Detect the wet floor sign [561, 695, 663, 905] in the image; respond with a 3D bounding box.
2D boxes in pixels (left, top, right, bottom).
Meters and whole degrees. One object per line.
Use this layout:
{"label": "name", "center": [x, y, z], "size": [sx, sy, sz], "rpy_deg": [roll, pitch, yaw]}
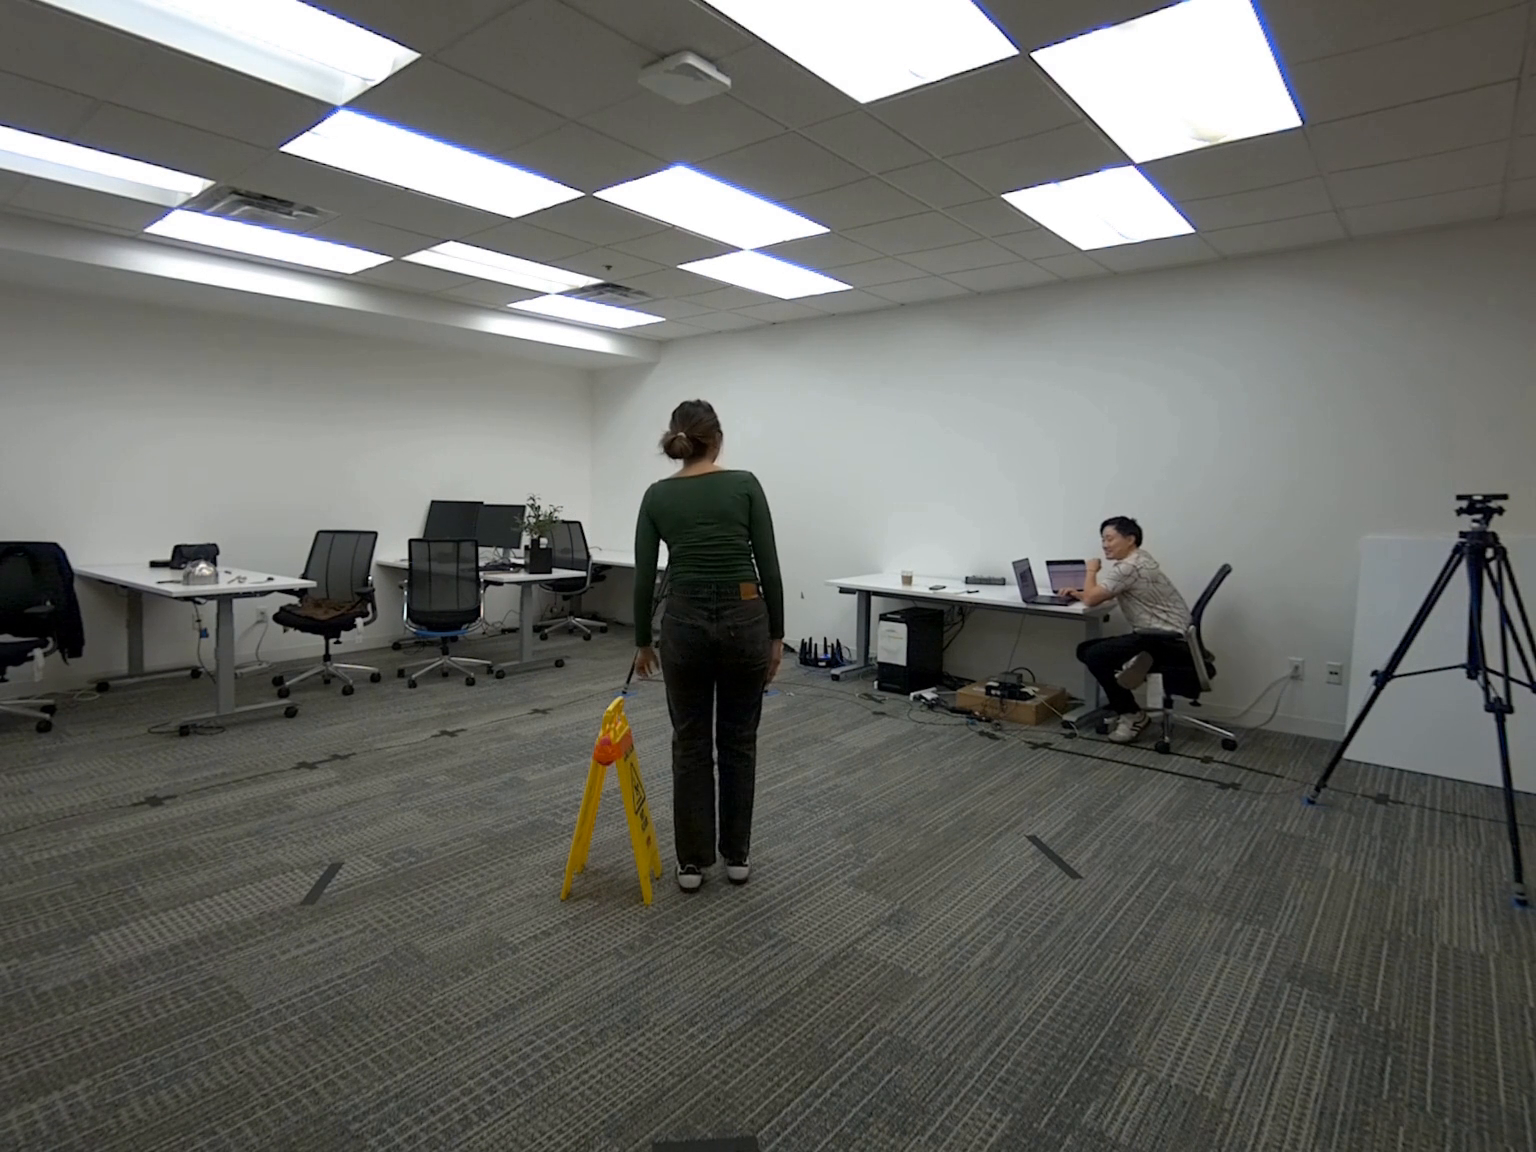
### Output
{"label": "wet floor sign", "center": [-0.543, 0.757, 2.943], "size": [0.291, 0.644, 0.282], "rpy_deg": [1, 4, 3]}
